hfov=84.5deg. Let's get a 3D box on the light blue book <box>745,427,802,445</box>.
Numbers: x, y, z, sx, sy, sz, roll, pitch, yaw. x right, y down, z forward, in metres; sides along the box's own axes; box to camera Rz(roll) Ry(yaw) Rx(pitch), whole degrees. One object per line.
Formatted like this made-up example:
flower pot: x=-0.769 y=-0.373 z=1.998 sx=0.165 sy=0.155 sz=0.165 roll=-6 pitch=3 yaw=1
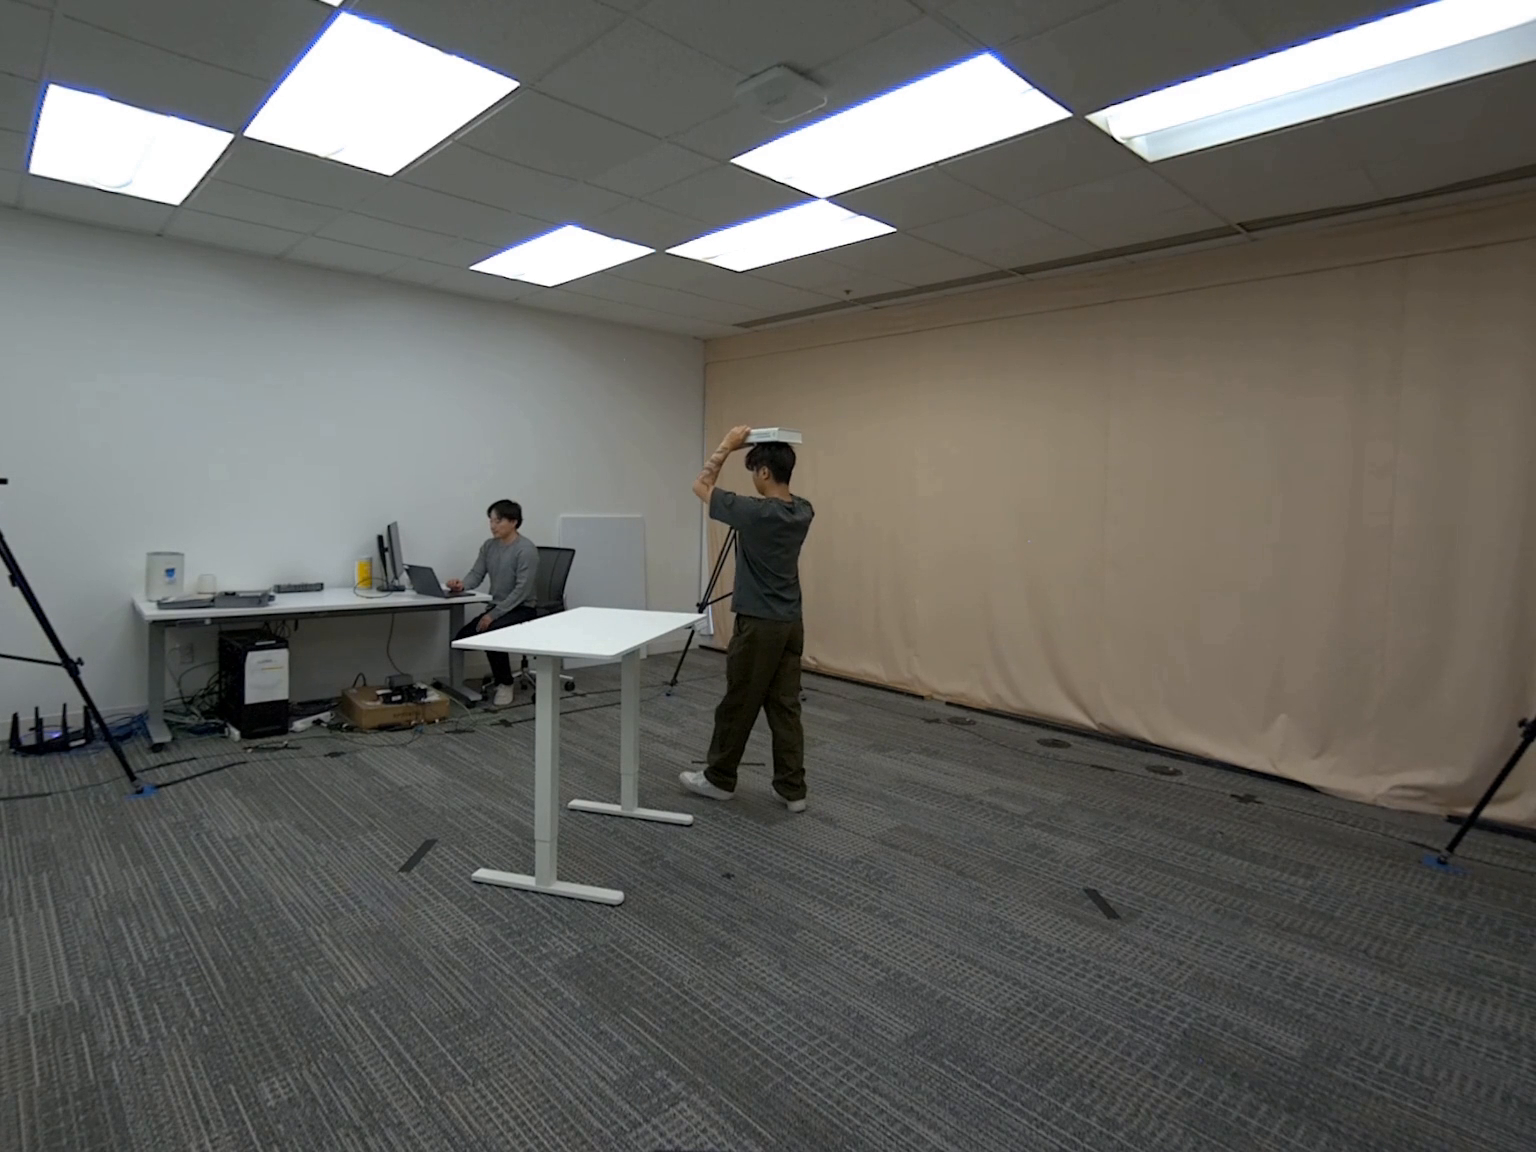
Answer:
light blue book: x=-0.011 y=-0.632 z=3.810 sx=0.267 sy=0.059 sz=0.187 roll=4 pitch=5 yaw=37
